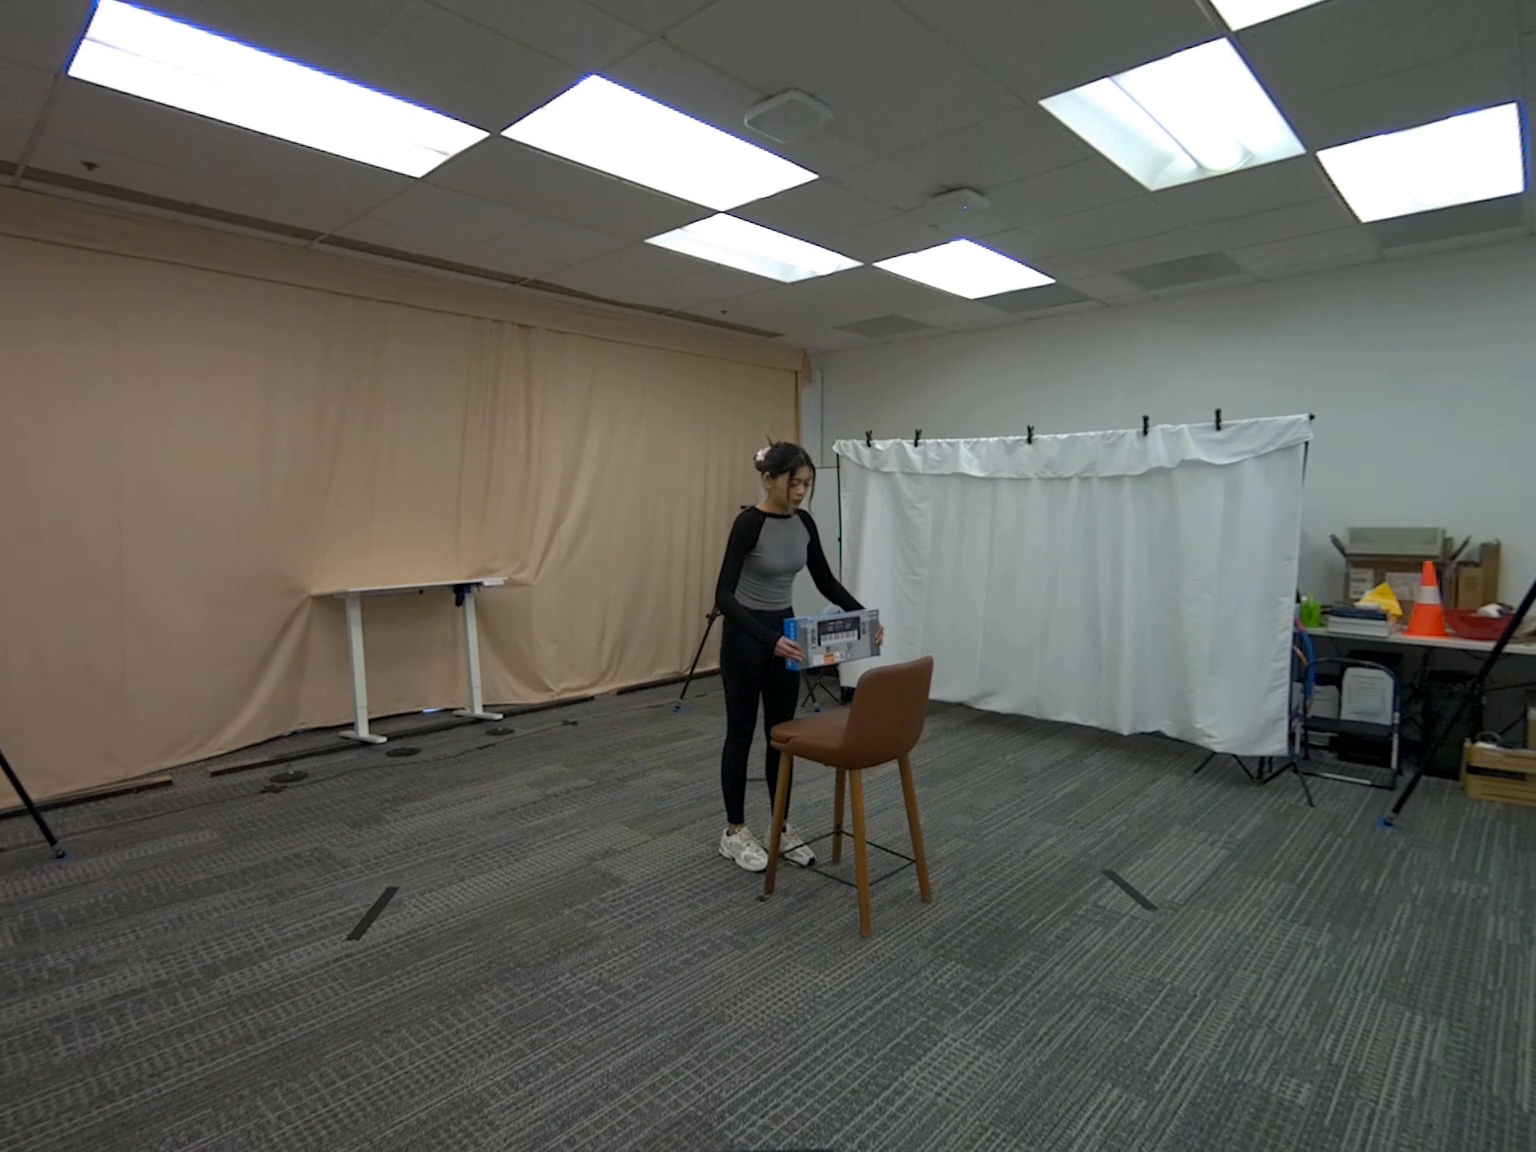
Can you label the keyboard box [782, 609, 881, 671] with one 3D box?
[{"bbox_3d":[0.240,0.225,2.994,0.423,0.176,0.061,-3,2,-41],"label":"keyboard box"}]
